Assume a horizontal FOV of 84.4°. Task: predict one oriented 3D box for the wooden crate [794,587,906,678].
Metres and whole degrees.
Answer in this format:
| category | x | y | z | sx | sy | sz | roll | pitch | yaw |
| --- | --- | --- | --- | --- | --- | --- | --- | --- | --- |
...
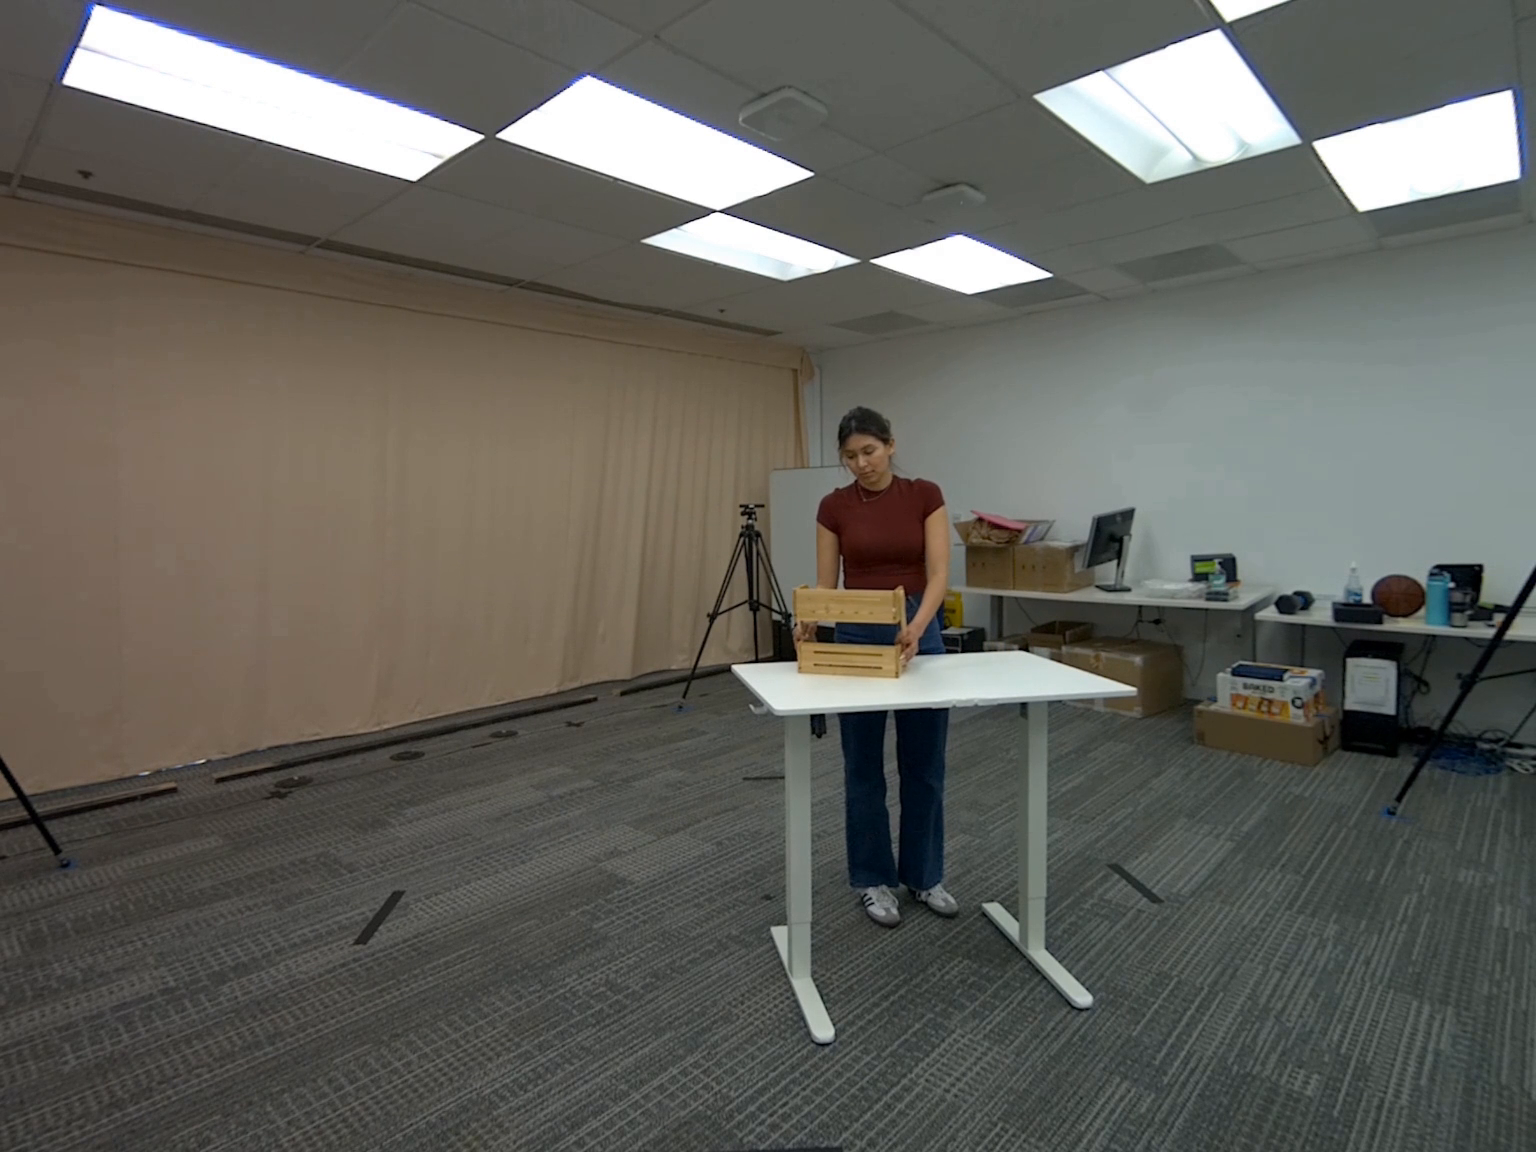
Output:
| category | x | y | z | sx | sy | sz | roll | pitch | yaw |
| --- | --- | --- | --- | --- | --- | --- | --- | --- | --- |
| wooden crate | 0.262 | 0.155 | 2.578 | 0.330 | 0.273 | 0.297 | 1 | 4 | 16 |
